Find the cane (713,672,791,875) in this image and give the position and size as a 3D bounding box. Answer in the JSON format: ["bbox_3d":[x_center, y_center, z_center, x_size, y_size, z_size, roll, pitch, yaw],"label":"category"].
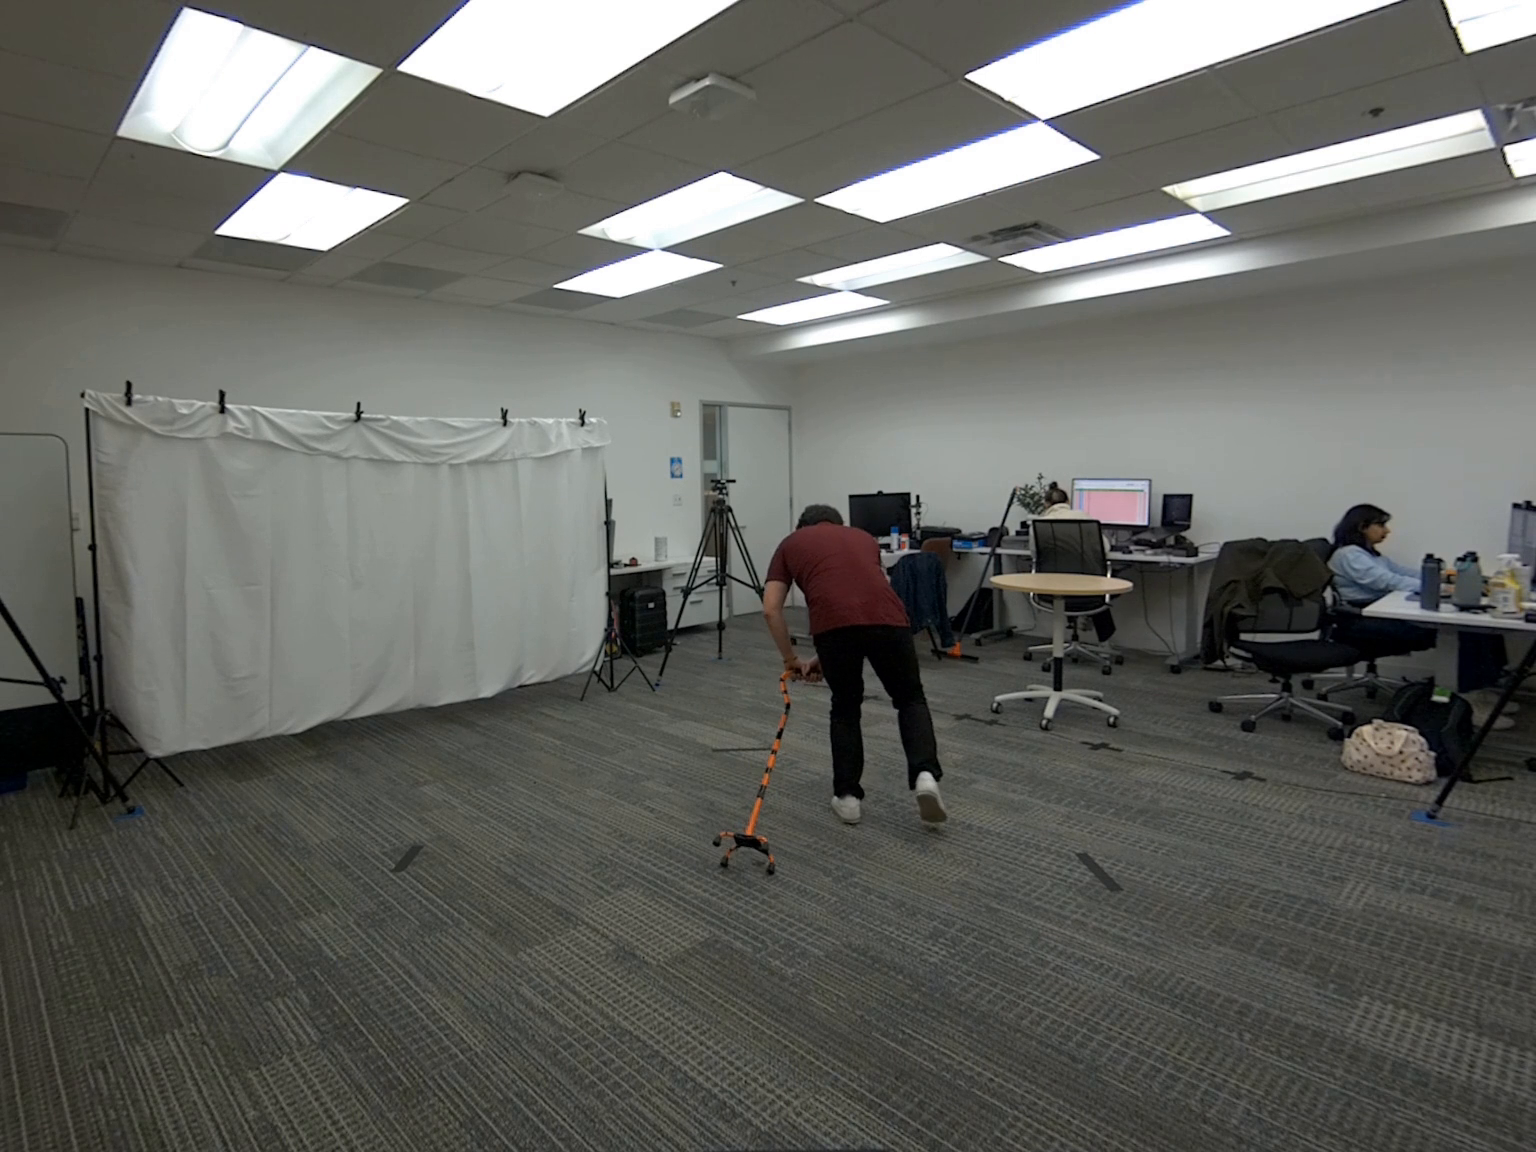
[{"bbox_3d":[0.017,0.704,3.352,0.210,0.147,0.920,0,39,17],"label":"cane"}]
